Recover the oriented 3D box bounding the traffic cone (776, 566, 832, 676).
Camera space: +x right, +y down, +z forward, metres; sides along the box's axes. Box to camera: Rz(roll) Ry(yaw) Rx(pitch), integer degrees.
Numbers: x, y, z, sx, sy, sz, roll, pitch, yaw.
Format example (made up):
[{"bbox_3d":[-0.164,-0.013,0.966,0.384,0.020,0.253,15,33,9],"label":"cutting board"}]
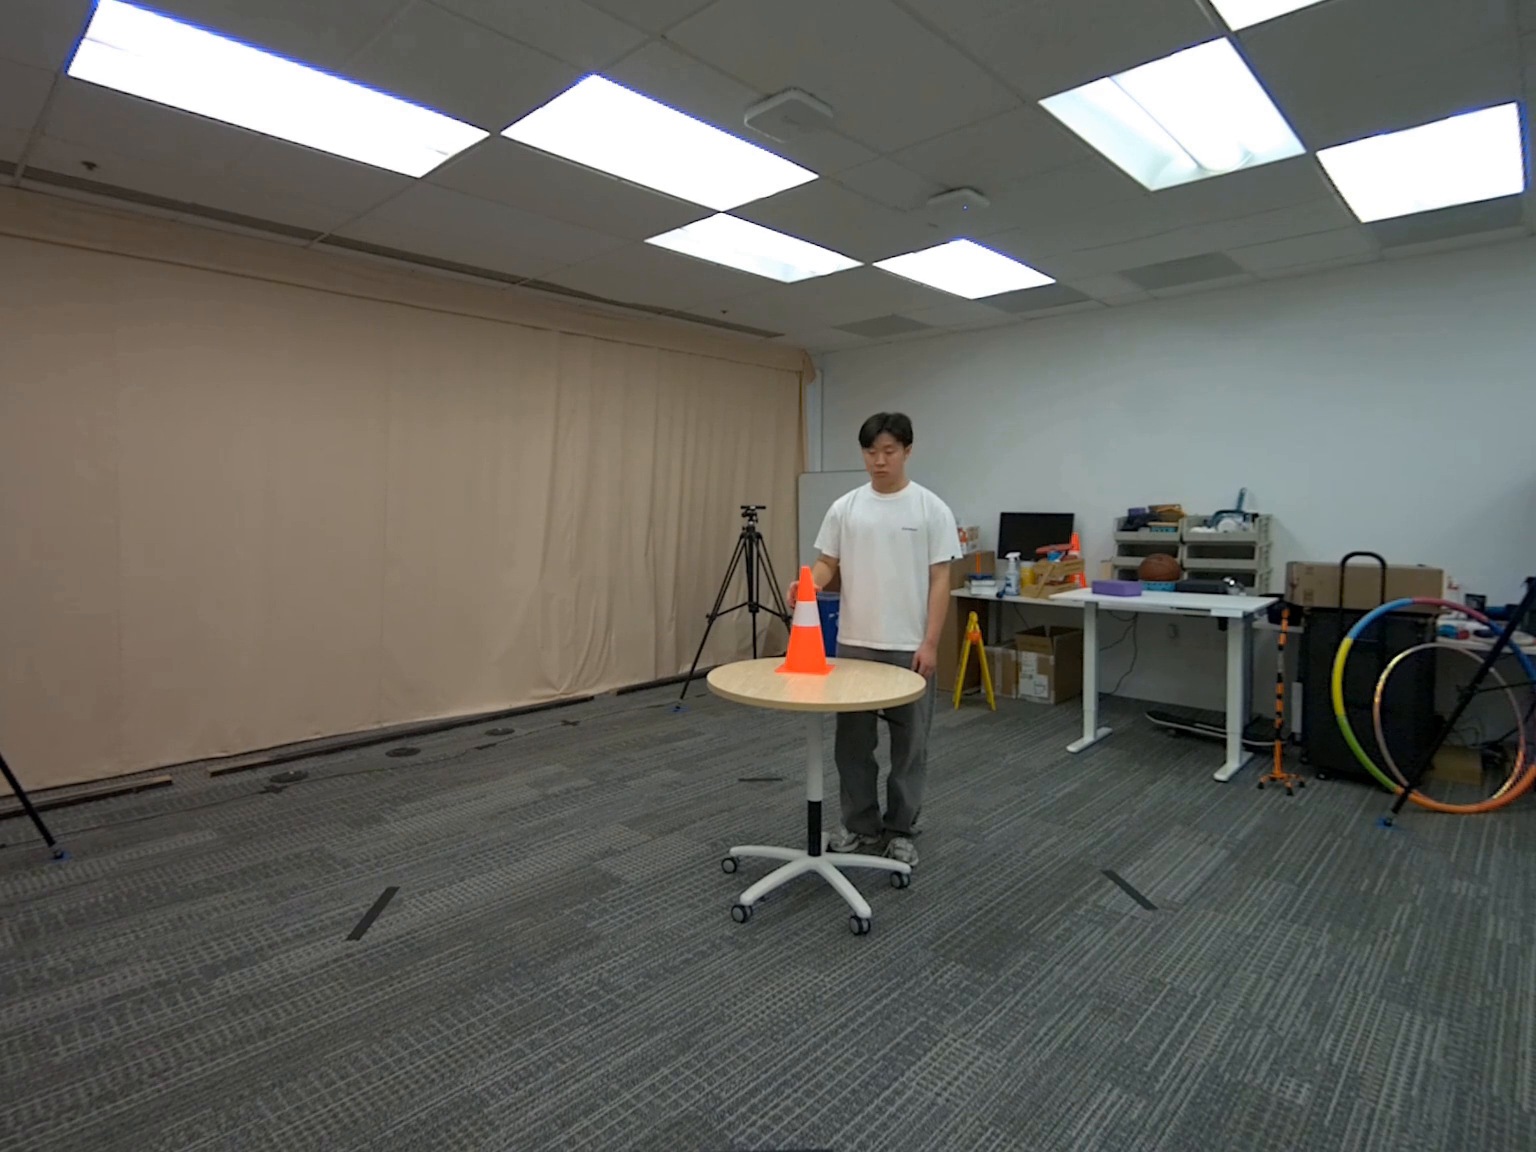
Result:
[{"bbox_3d":[0.140,0.159,3.127,0.210,0.383,0.199,-1,2,22],"label":"traffic cone"}]
